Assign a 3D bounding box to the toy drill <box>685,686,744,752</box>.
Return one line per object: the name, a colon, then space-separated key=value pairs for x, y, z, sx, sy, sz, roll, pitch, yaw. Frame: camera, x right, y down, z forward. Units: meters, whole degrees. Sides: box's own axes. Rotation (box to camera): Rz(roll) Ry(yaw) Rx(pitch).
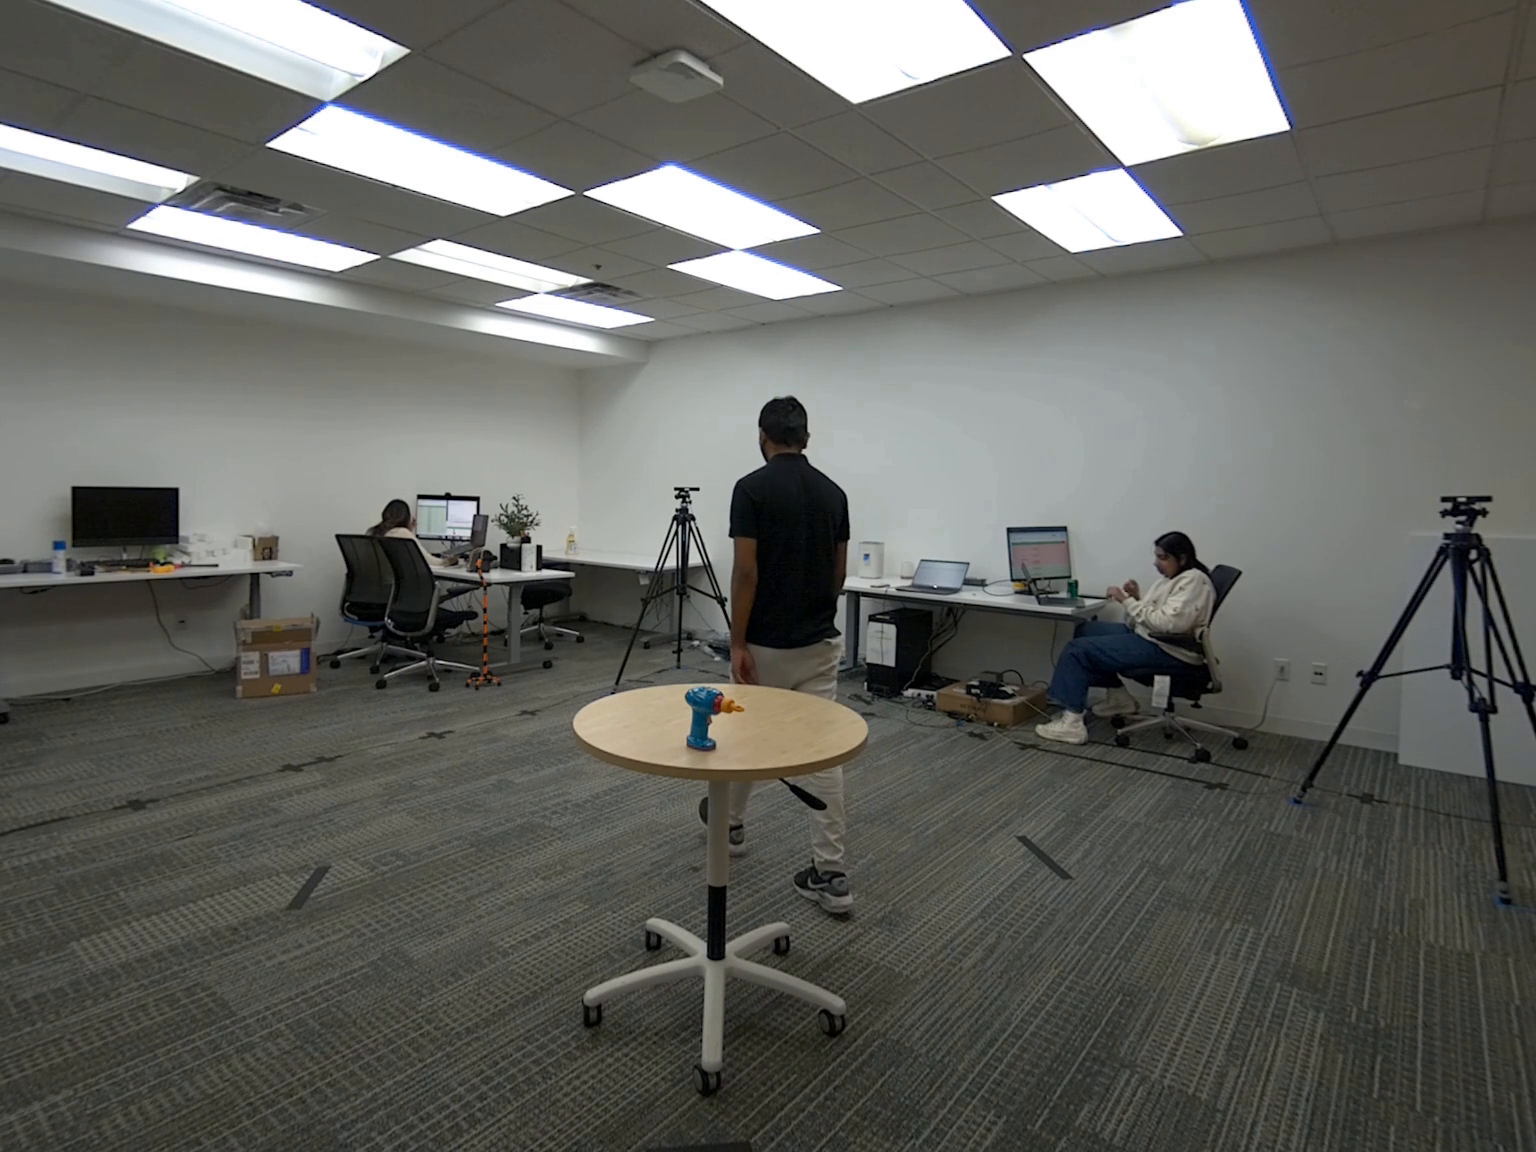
toy drill: x=-0.123 y=0.336 z=1.975 sx=0.175 sy=0.145 sz=0.059 roll=7 pitch=5 yaw=29
